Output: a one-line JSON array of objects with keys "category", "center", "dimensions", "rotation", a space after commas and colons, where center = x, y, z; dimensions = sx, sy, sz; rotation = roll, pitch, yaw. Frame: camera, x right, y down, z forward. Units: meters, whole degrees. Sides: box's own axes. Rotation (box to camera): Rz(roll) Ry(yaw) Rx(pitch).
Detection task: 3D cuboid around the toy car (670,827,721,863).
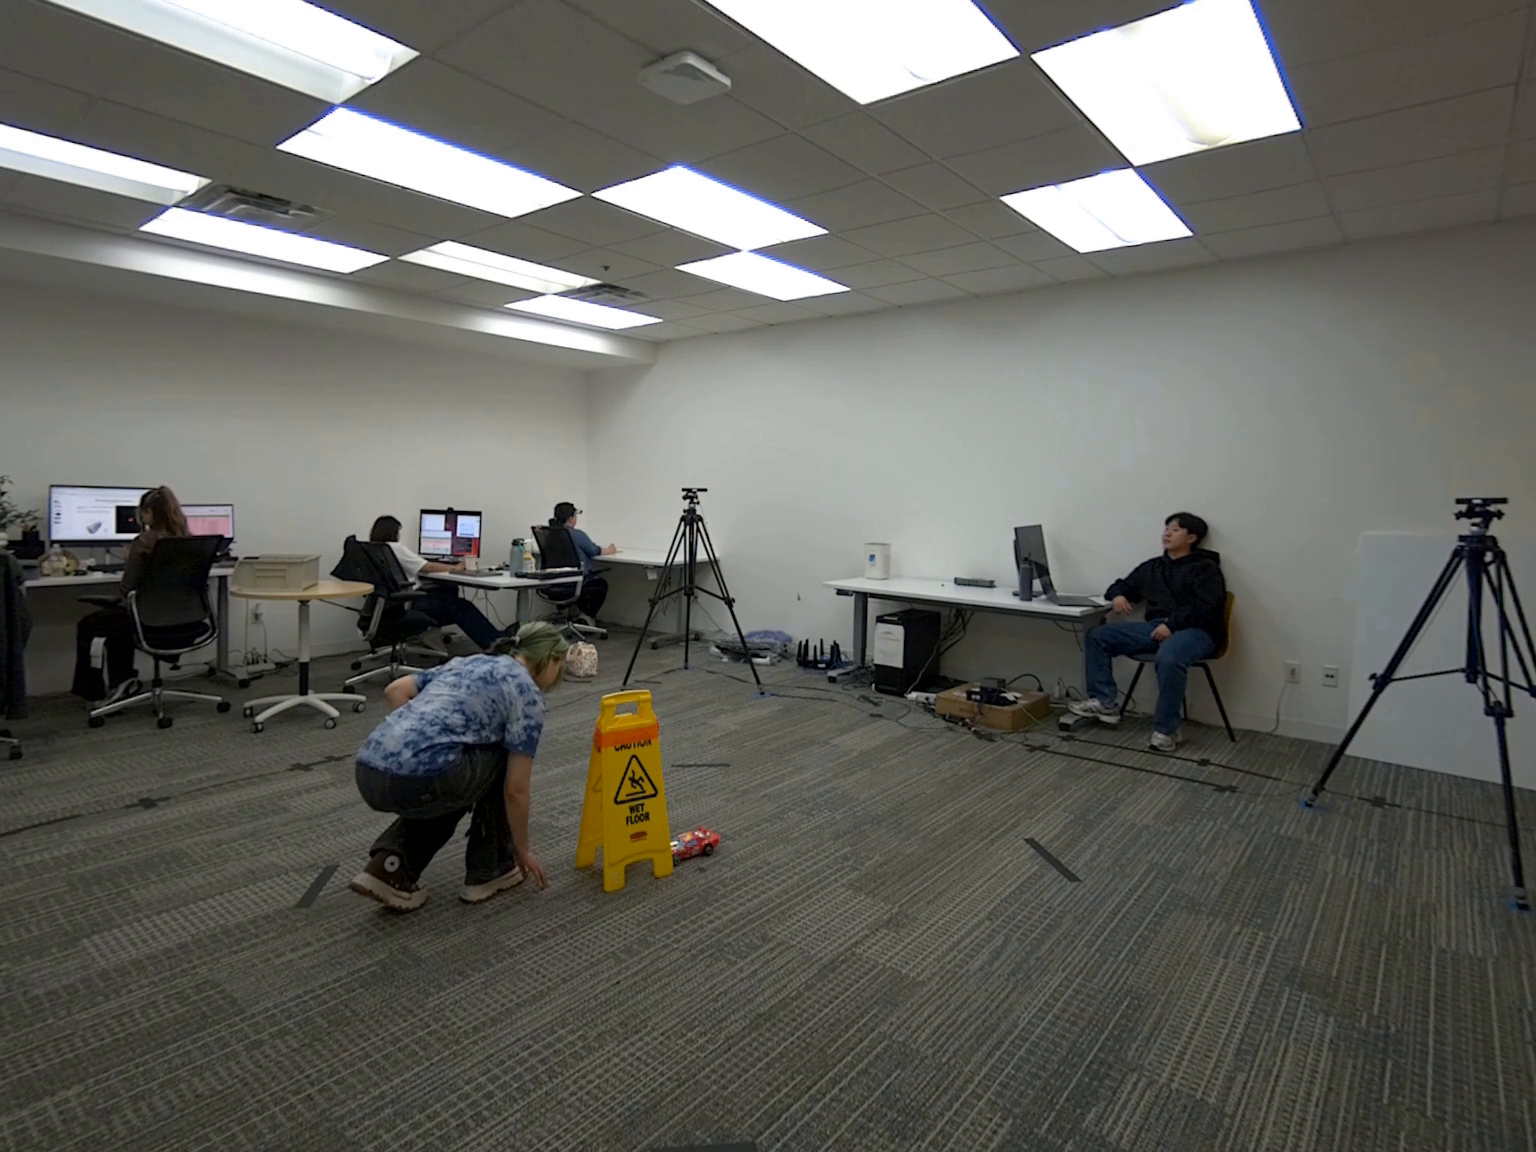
[{"category": "toy car", "center": [-0.308, 1.031, 3.238], "dimensions": [0.250, 0.082, 0.134], "rotation": [-19, 16, -31]}]
